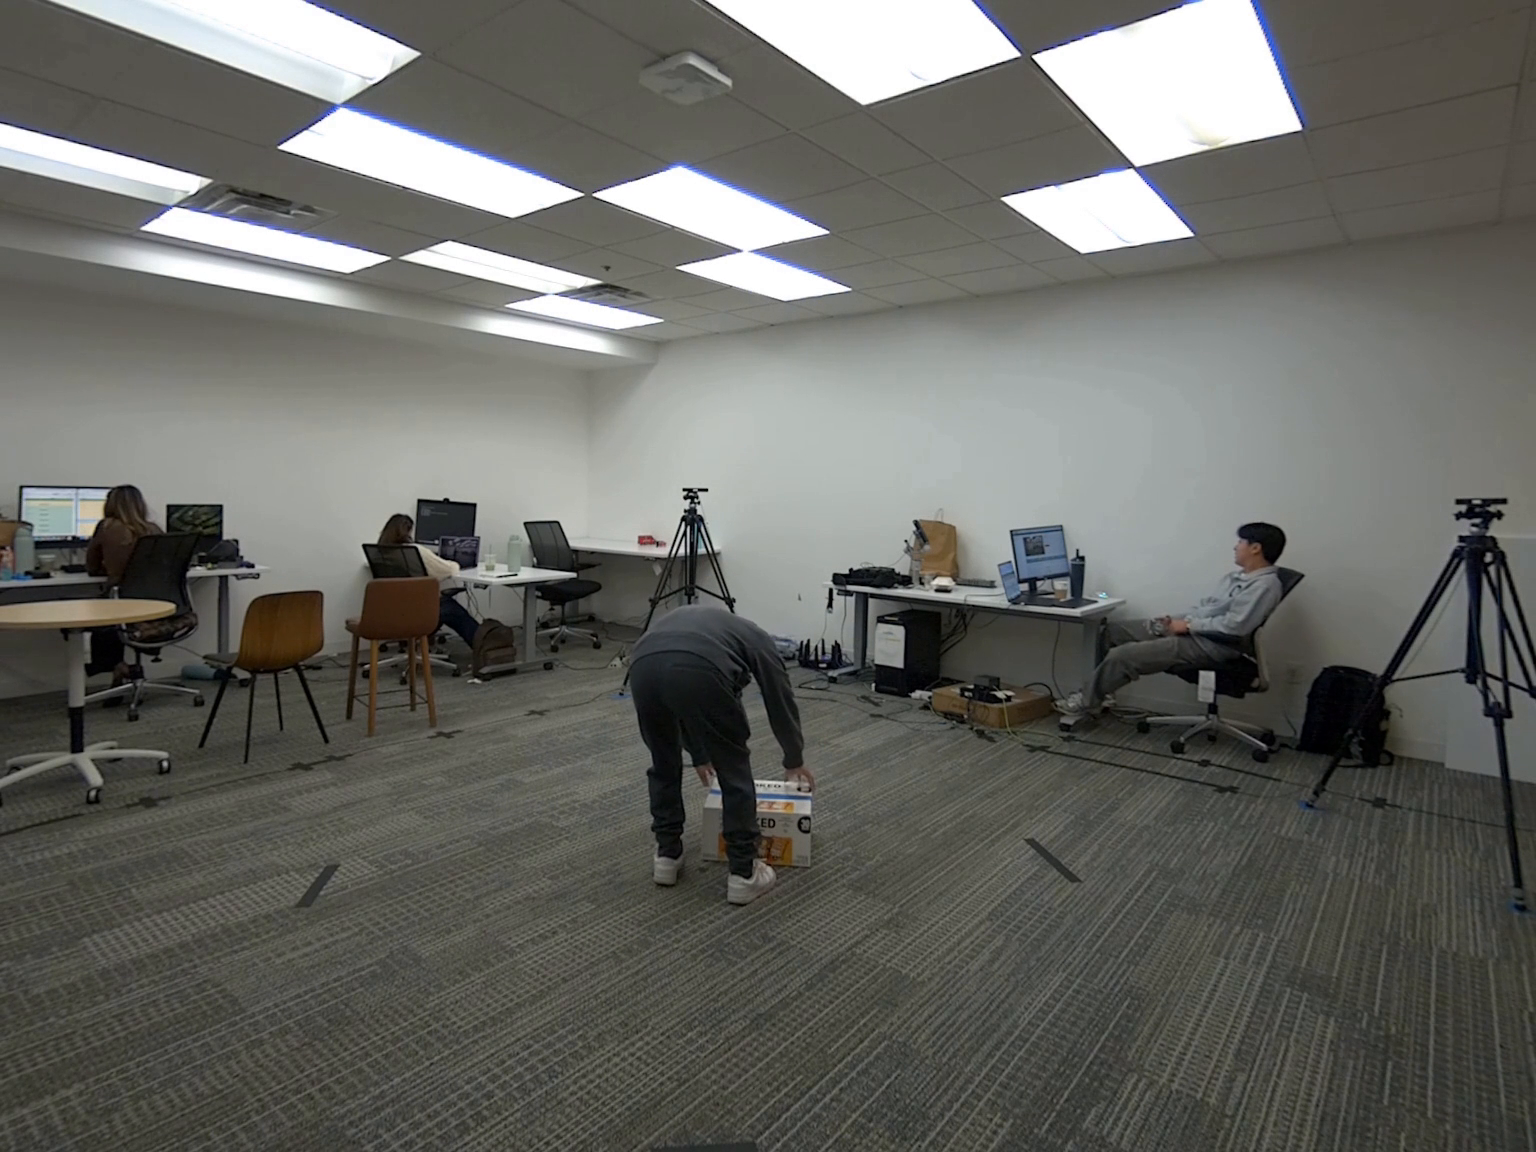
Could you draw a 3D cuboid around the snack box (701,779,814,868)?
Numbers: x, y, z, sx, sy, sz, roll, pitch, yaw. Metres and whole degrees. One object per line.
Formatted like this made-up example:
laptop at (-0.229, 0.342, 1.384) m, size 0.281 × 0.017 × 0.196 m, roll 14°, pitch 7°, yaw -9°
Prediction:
snack box at (-0.042, 0.951, 3.320) m, size 0.408 × 0.205 × 0.339 m, roll 2°, pitch 5°, yaw 6°
